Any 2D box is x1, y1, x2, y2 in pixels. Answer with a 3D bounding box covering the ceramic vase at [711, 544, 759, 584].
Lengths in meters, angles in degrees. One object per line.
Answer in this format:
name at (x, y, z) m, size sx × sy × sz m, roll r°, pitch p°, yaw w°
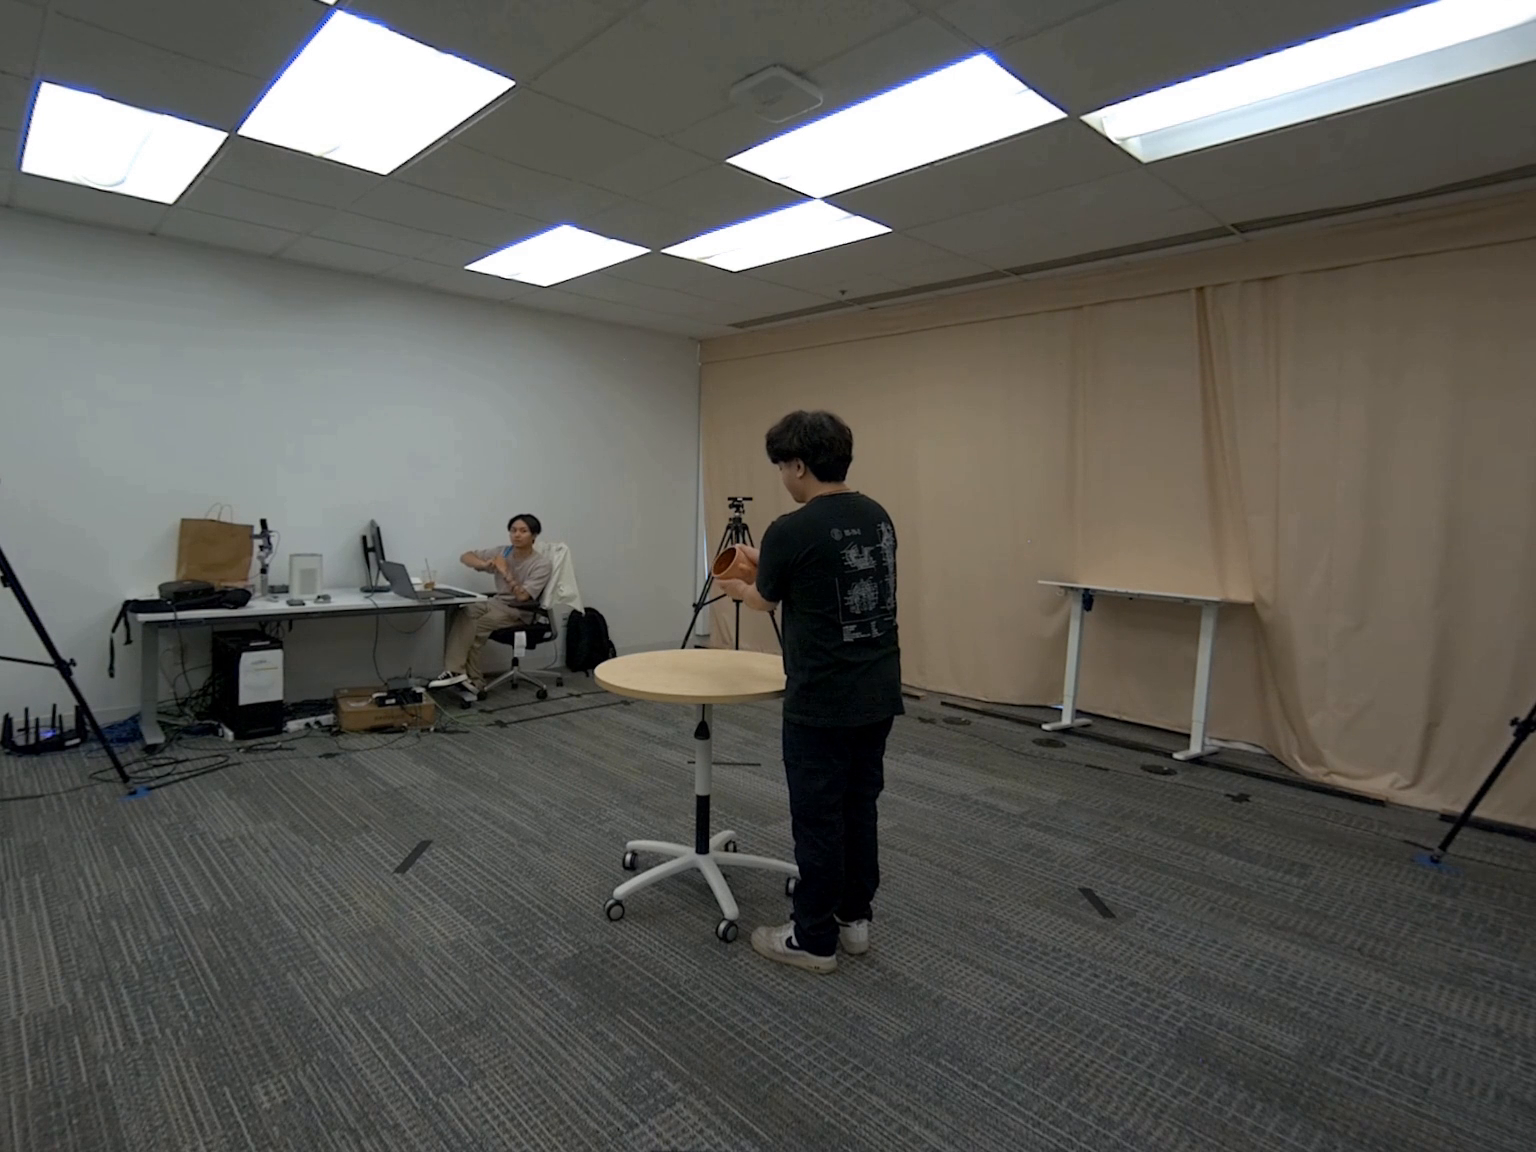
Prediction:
ceramic vase at (-0.083, 0.010, 2.965) m, size 0.214 × 0.135 × 0.162 m, roll 38°, pitch 25°, yaw -26°
